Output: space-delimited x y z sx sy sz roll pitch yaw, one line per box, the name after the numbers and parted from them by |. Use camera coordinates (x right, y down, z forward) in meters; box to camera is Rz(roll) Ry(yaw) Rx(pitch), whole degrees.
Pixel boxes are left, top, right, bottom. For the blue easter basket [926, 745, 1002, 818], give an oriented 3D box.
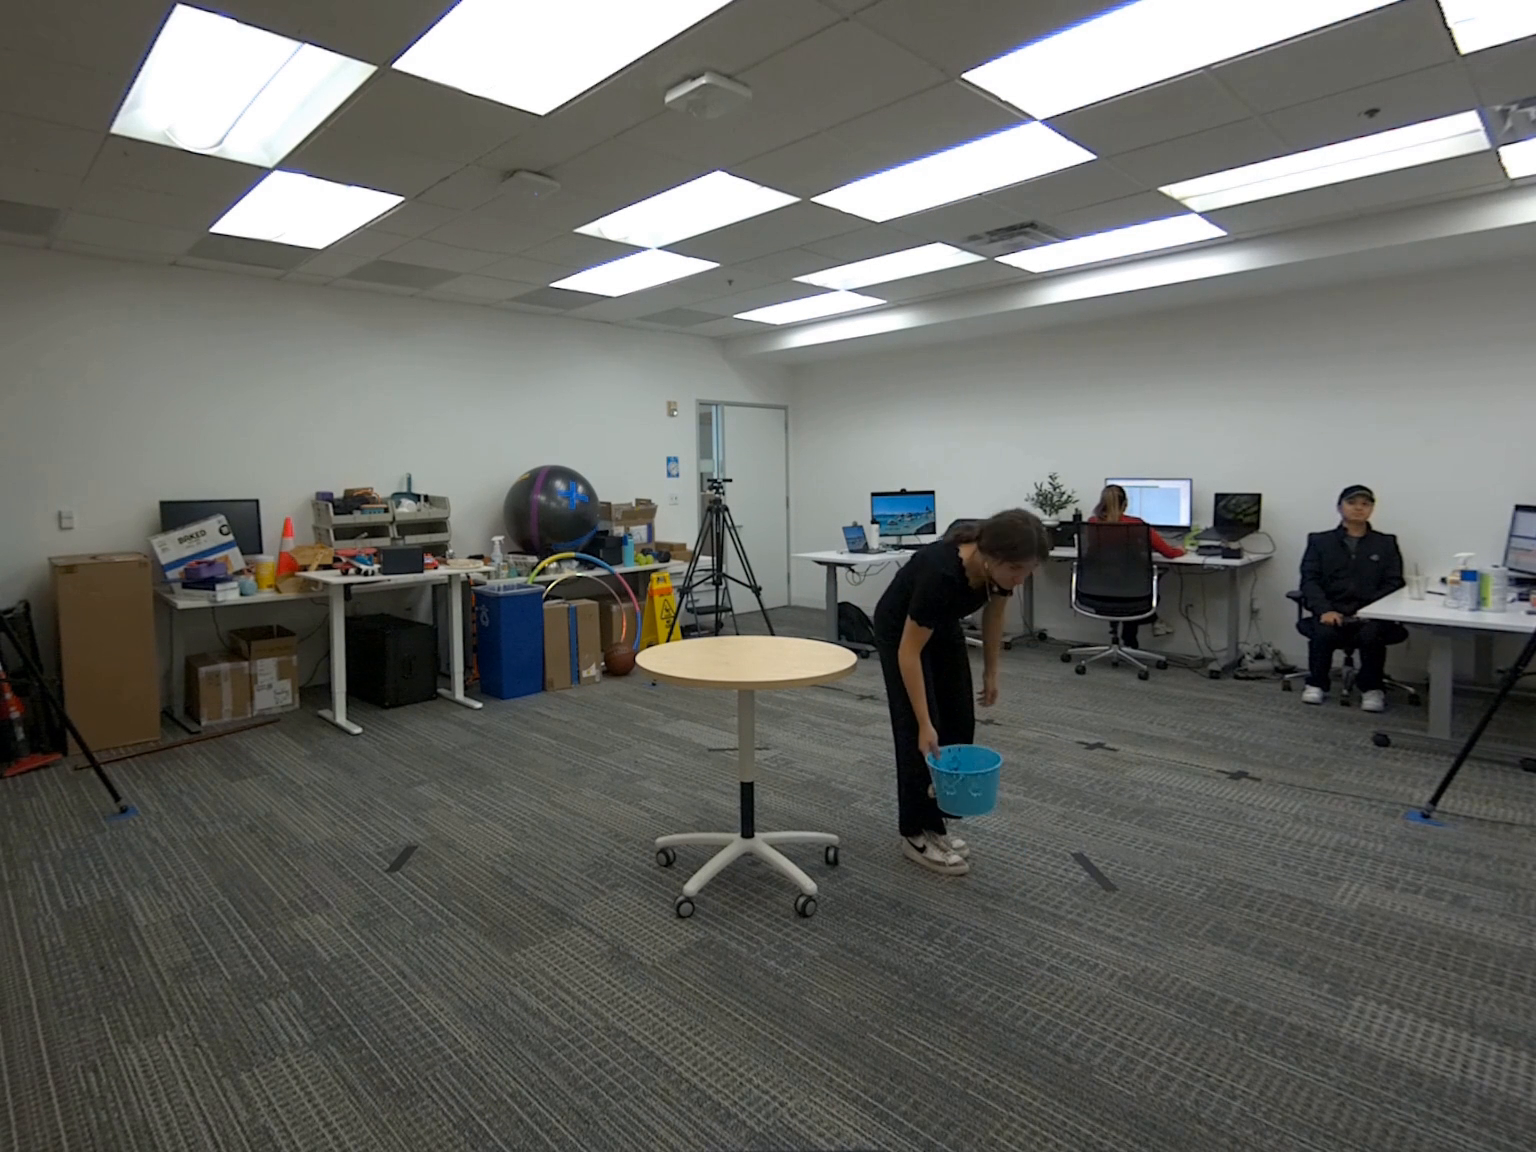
0.640 0.657 2.714 0.243 0.154 0.246 -6 9 -1 | blue easter basket
